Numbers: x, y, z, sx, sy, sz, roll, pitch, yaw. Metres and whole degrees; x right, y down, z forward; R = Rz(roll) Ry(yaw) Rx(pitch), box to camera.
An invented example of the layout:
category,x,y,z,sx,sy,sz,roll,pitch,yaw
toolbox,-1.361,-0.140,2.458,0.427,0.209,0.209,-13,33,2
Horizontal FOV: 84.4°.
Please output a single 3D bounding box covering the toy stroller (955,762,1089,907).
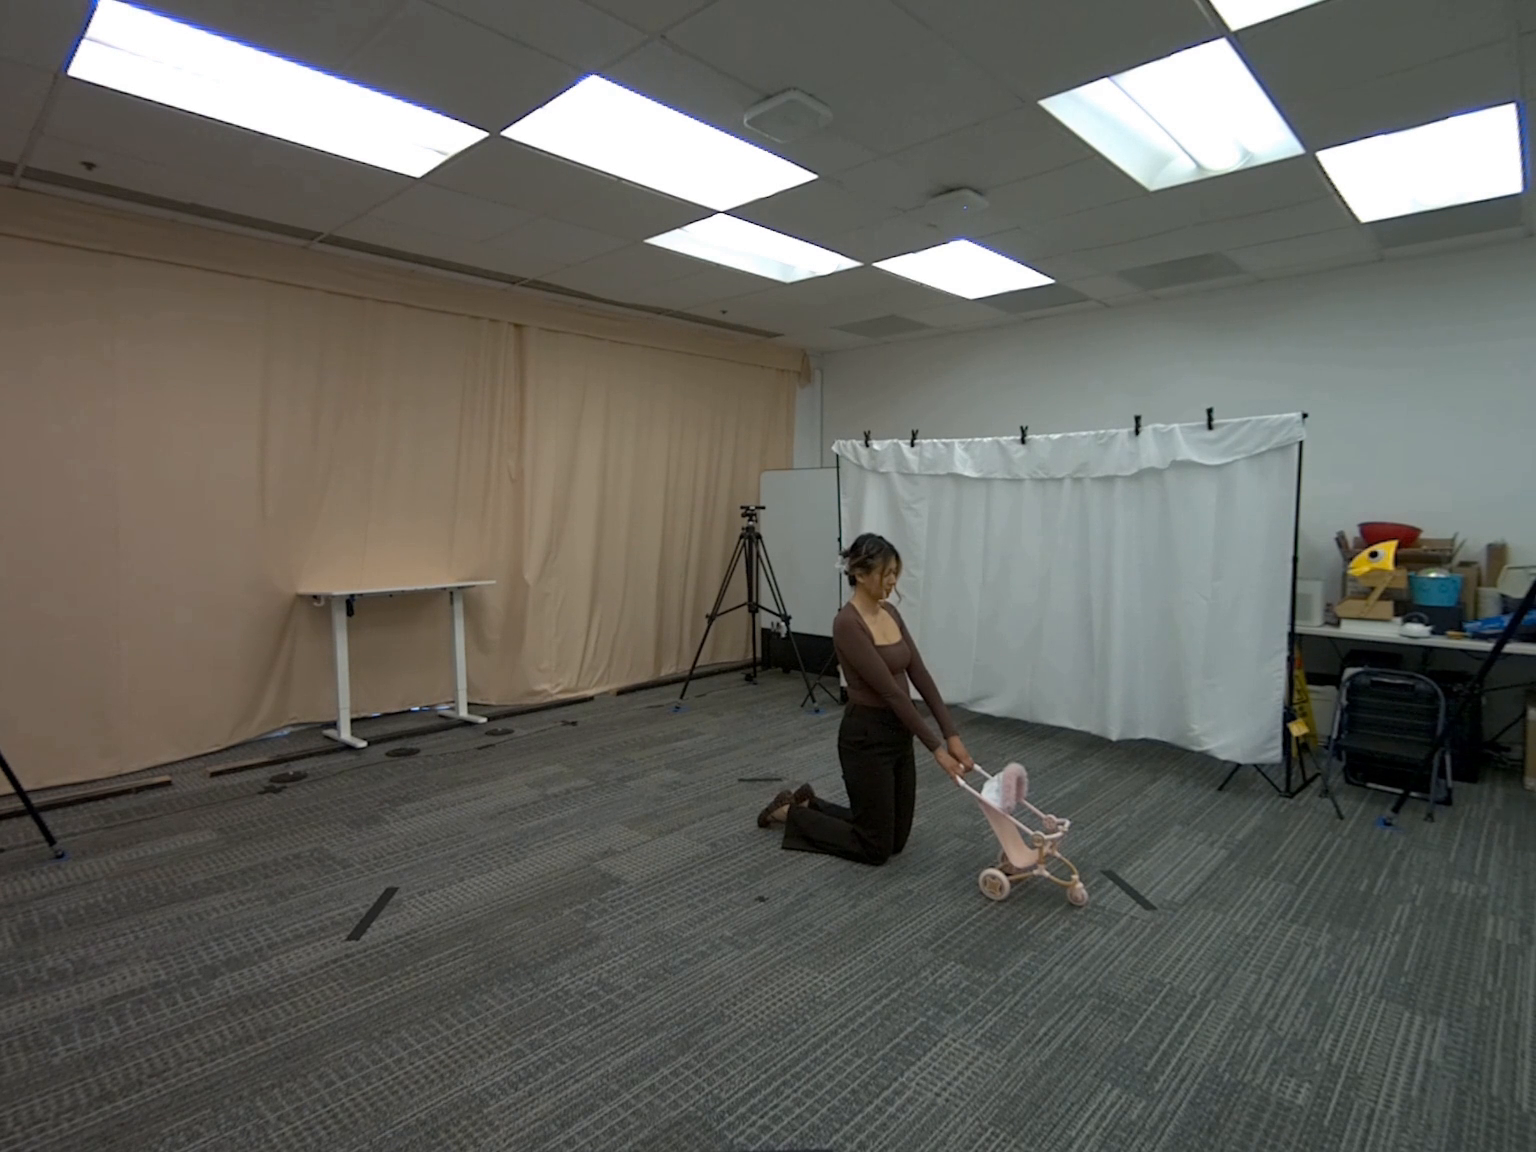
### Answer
category,x,y,z,sx,sy,sz,roll,pitch,yaw
toy stroller,0.917,0.915,3.027,0.349,0.539,0.273,-20,-9,37
